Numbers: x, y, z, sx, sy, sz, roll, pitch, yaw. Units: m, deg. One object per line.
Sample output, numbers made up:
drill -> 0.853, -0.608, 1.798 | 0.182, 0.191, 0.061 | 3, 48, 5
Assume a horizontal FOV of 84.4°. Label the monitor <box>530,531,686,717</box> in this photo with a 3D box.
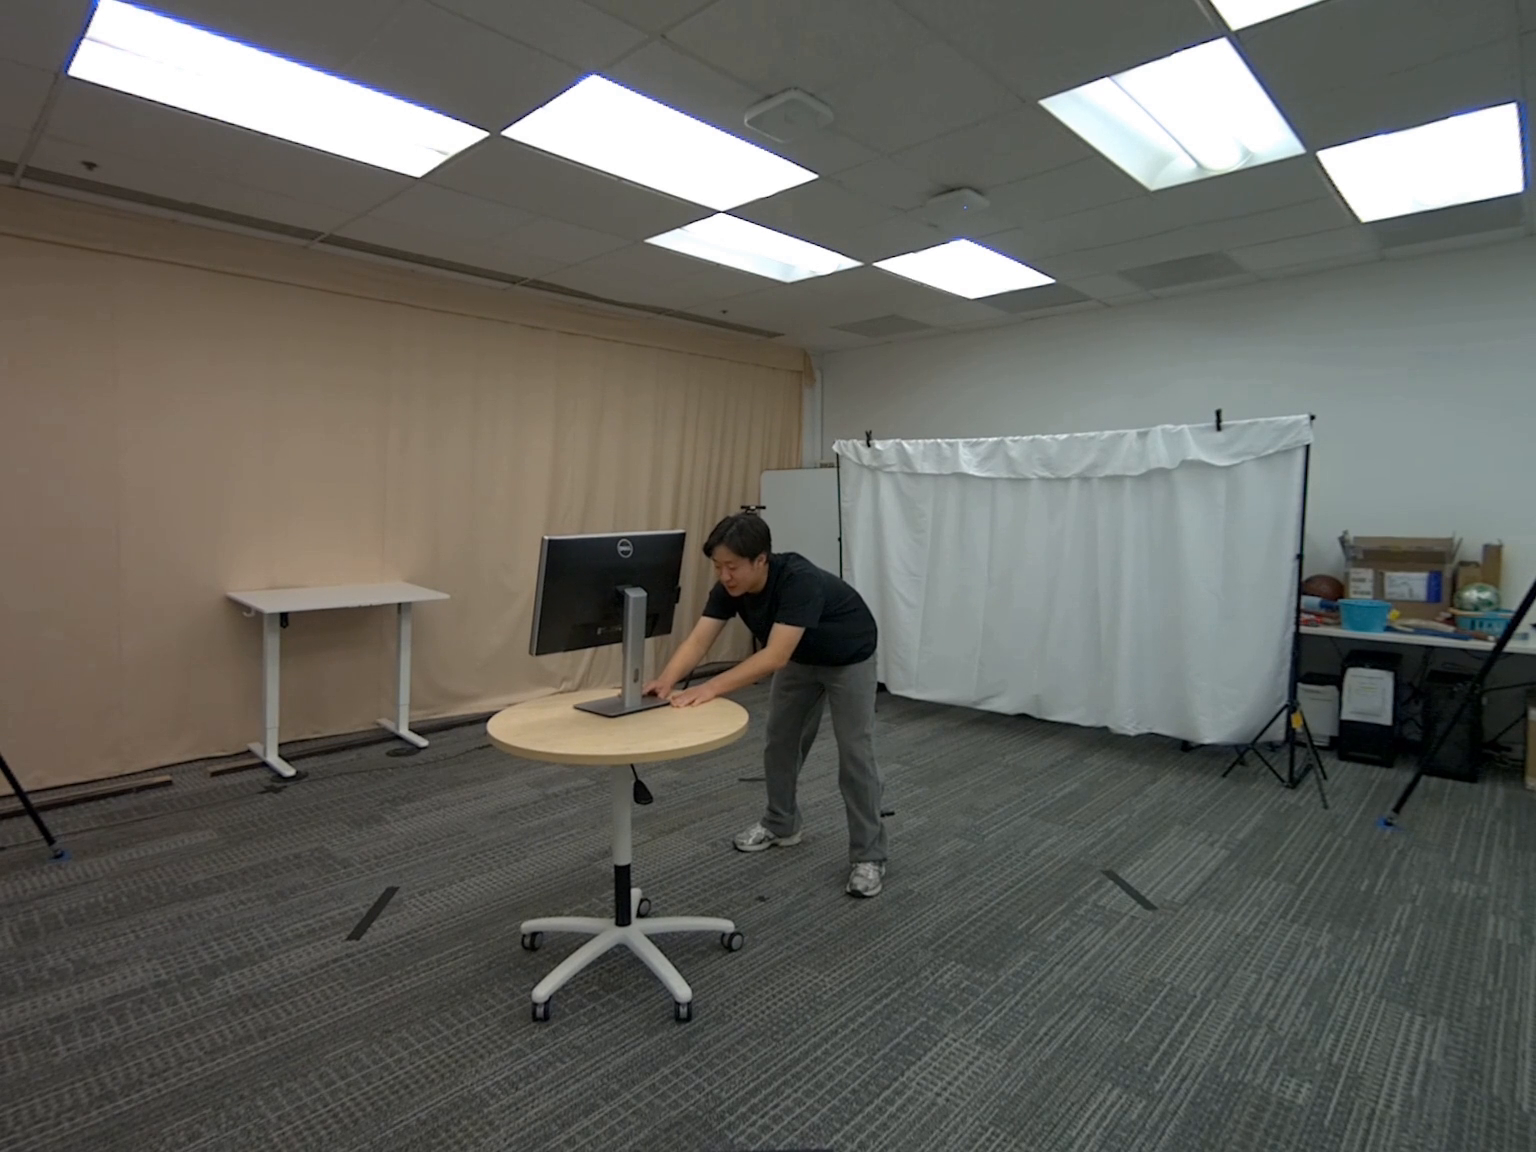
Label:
monitor -> -0.438, 0.143, 2.593 | 0.217, 0.551, 0.548 | 12, 10, 40
